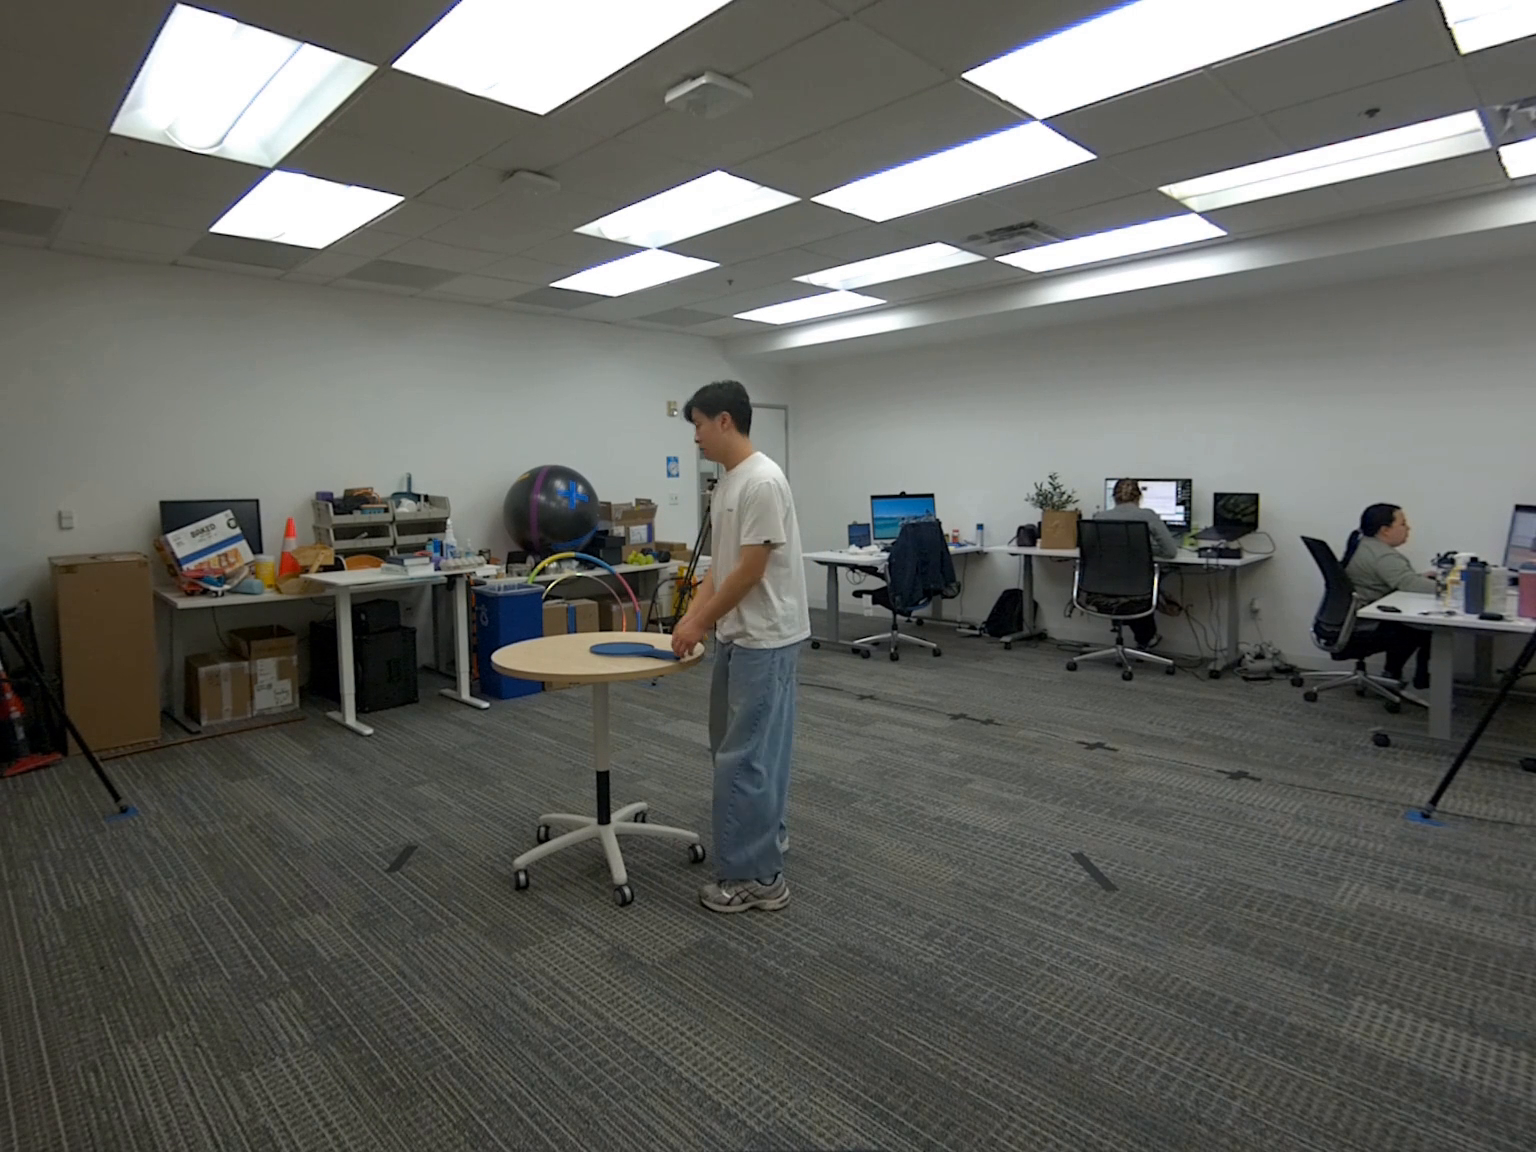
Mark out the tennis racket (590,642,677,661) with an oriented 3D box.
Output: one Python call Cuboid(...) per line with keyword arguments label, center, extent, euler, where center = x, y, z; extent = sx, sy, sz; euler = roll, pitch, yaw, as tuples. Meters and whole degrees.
Cuboid(label="tennis racket", center=(-0.478, 0.268, 3.046), extent=(0.208, 0.031, 0.446), euler=(-8, 9, -42))
